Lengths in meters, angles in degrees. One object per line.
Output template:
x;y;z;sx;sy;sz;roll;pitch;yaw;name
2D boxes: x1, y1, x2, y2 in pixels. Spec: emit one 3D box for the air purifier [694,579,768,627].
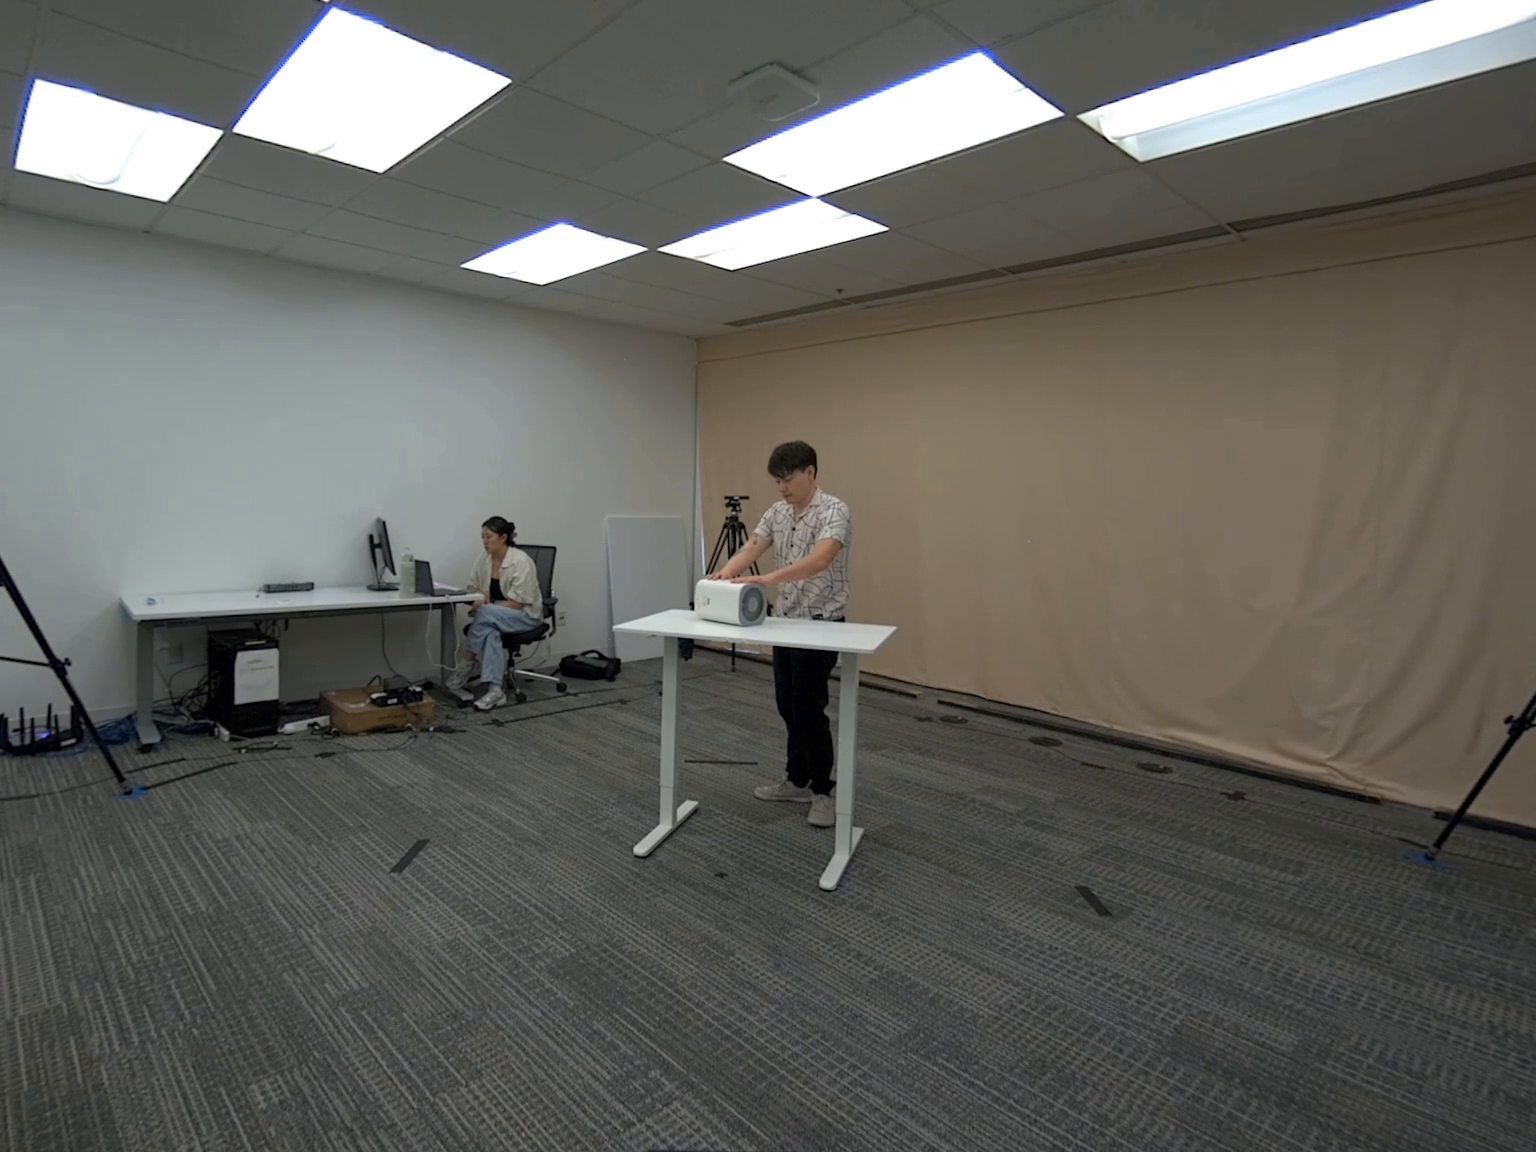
-0.164;0.103;3.445;0.272;0.171;0.167;6;5;41;air purifier
